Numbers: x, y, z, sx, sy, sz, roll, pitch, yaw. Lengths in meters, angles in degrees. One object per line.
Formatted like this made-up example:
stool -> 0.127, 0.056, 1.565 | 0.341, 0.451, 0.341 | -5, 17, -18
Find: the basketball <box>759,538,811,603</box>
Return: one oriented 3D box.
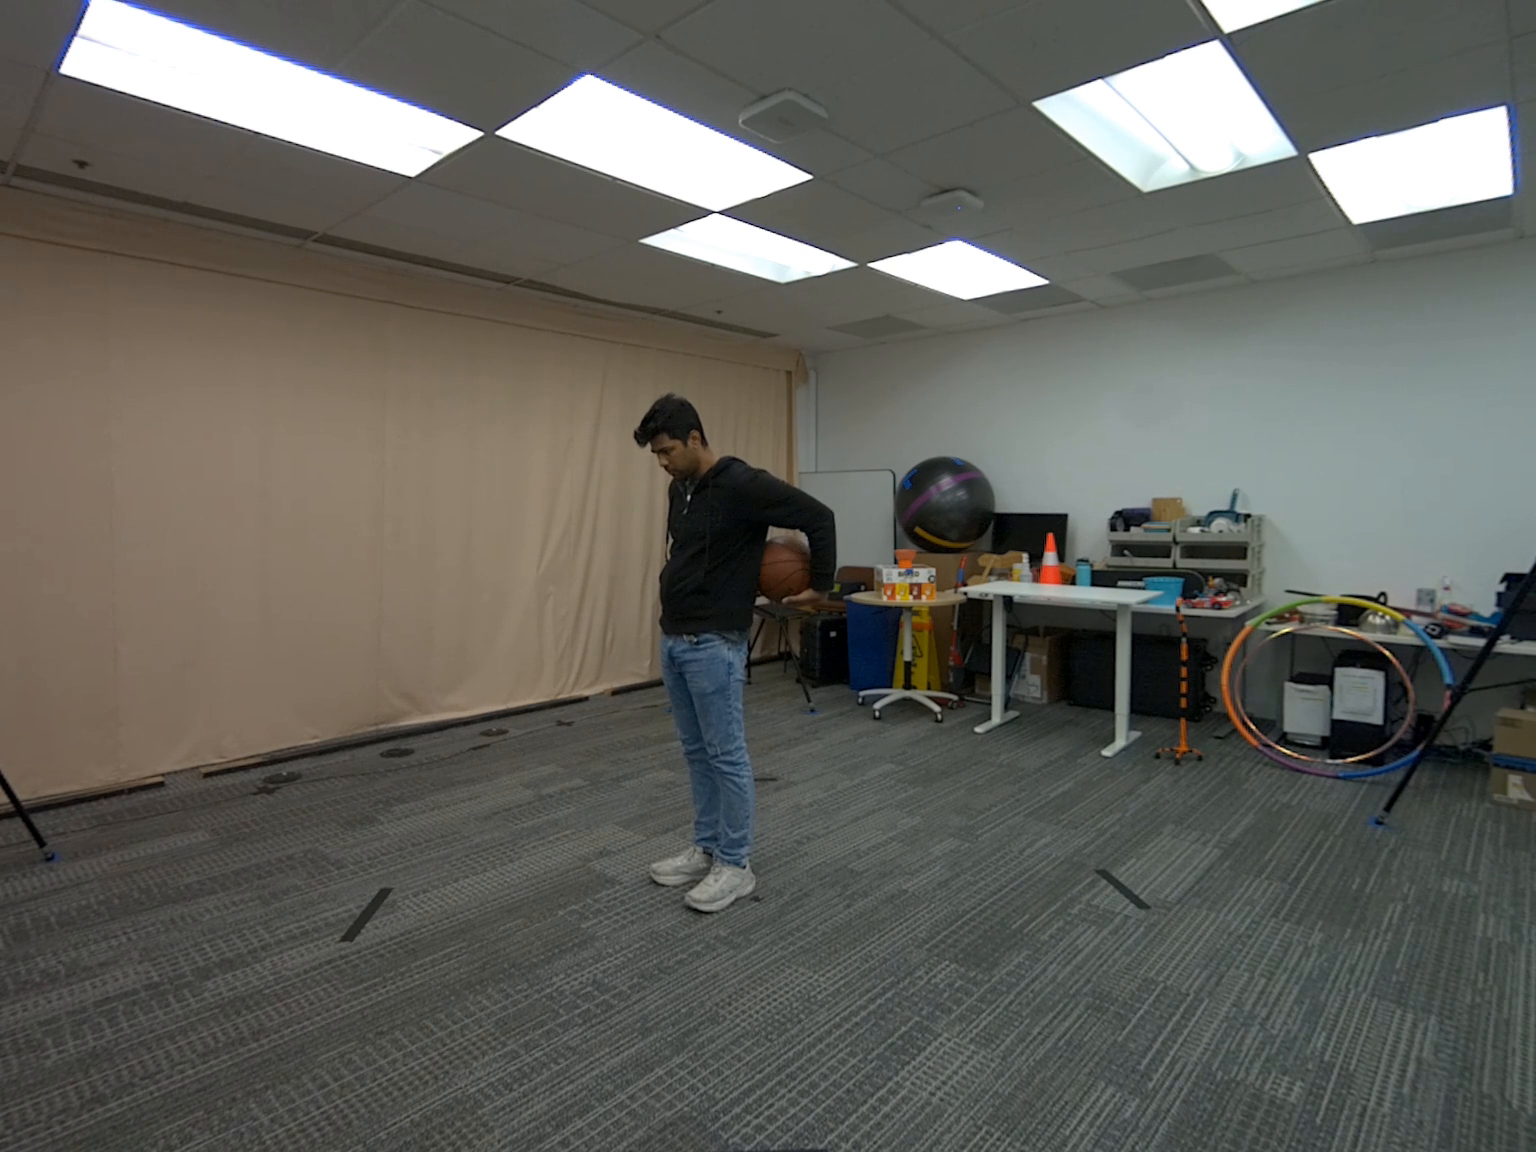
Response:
basketball -> 0.047, -0.016, 2.994 | 0.236, 0.235, 0.237 | 0, 4, -2
